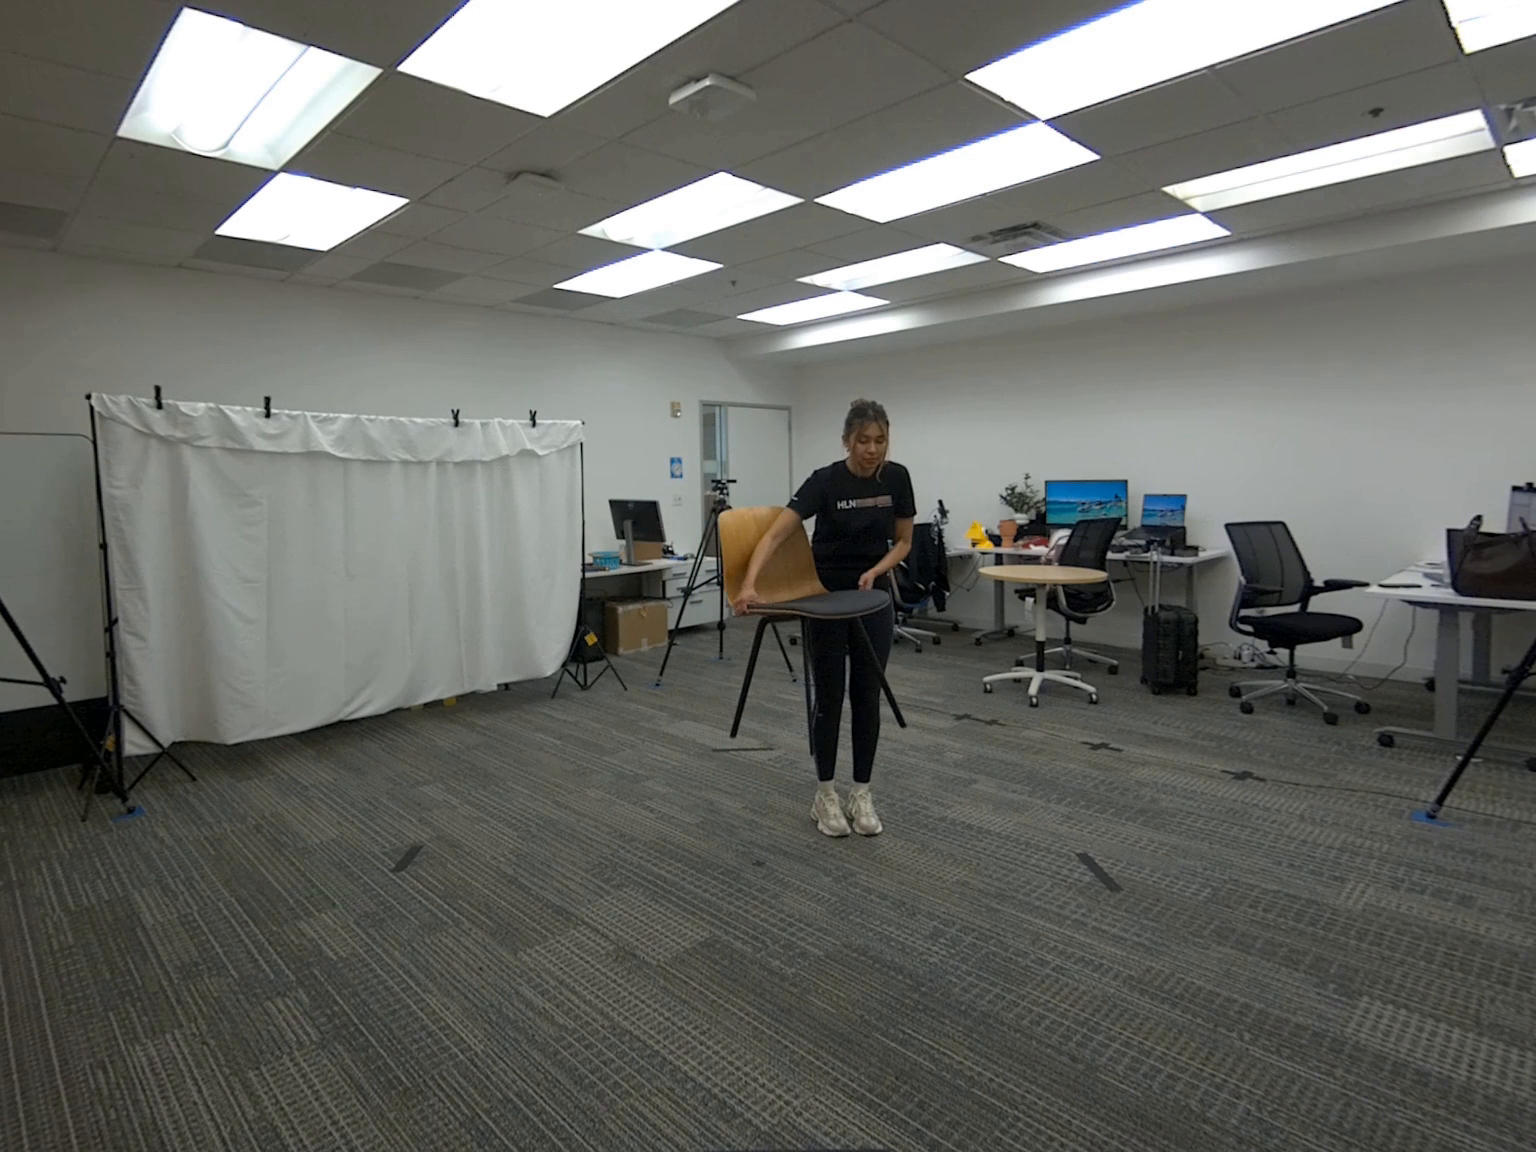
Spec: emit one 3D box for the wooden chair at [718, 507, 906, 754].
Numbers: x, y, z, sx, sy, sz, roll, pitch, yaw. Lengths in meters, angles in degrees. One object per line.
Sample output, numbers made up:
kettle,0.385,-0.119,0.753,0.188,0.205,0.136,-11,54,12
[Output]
wooden chair,0.142,0.153,3.084,0.466,0.881,0.534,-5,-5,-38
